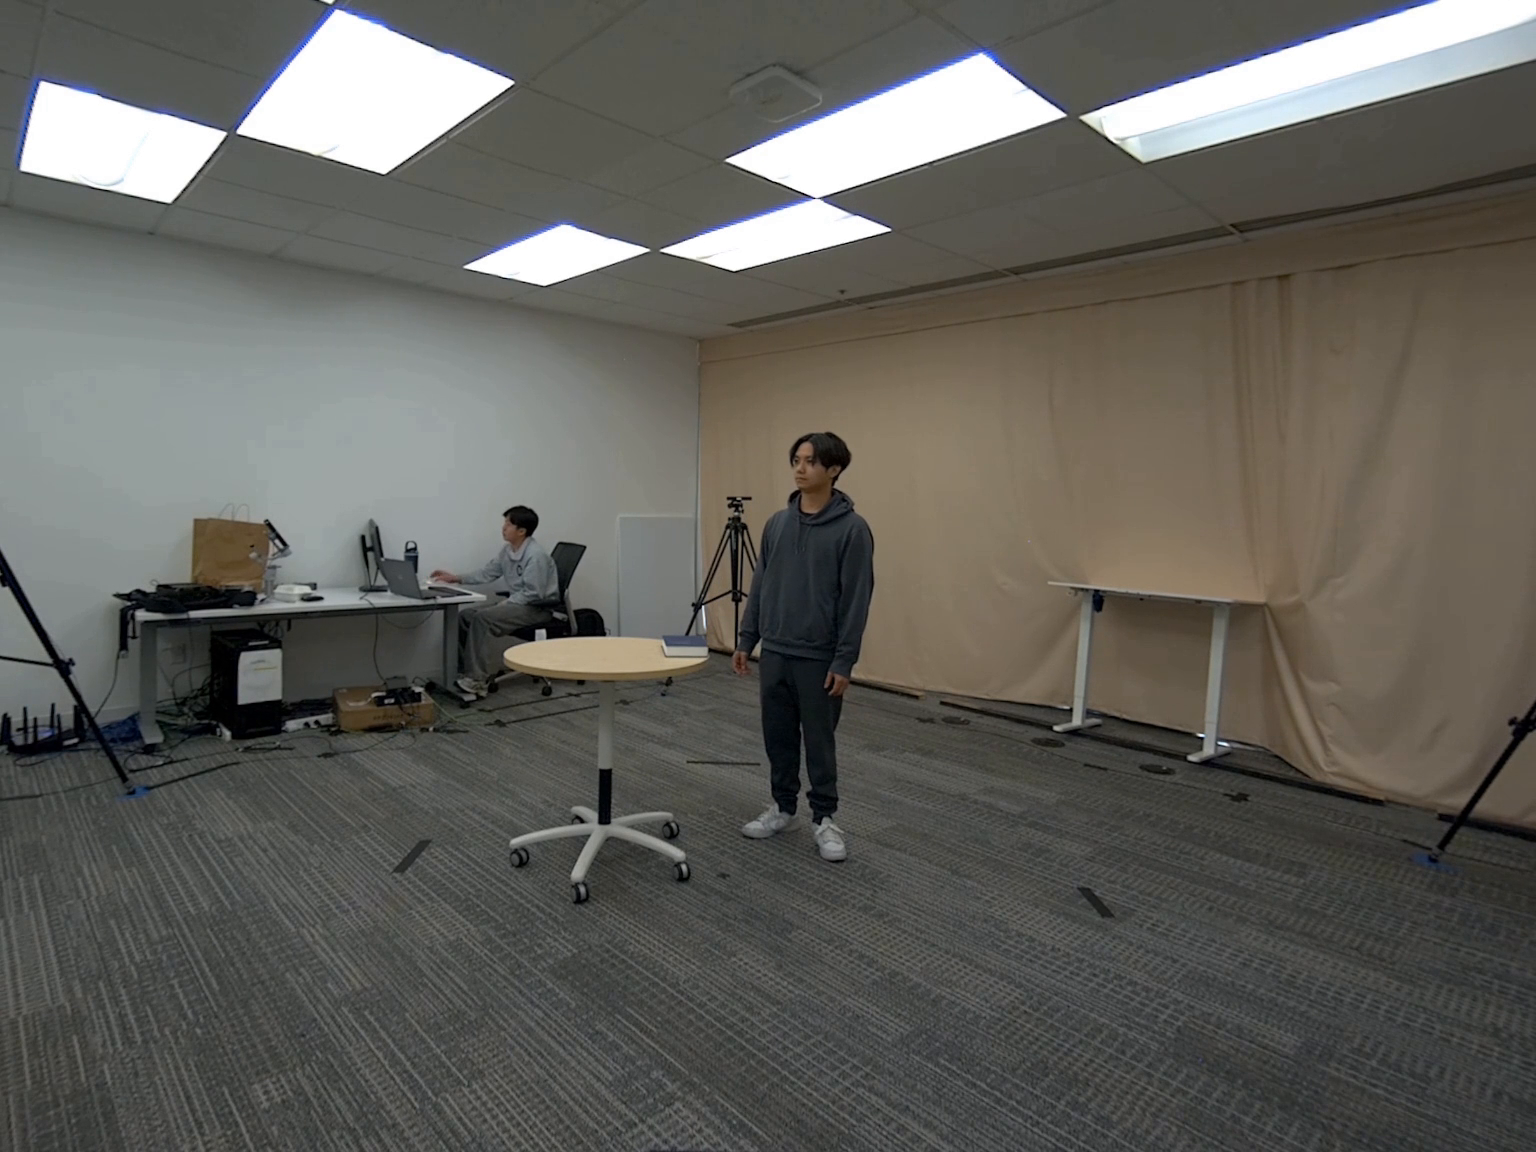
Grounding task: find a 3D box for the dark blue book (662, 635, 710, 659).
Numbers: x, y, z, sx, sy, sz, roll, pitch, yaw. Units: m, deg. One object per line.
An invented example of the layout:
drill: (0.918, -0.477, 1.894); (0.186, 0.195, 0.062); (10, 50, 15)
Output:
dark blue book: (-0.336, 0.271, 3.263); (0.162, 0.045, 0.248); (1, 5, -10)
